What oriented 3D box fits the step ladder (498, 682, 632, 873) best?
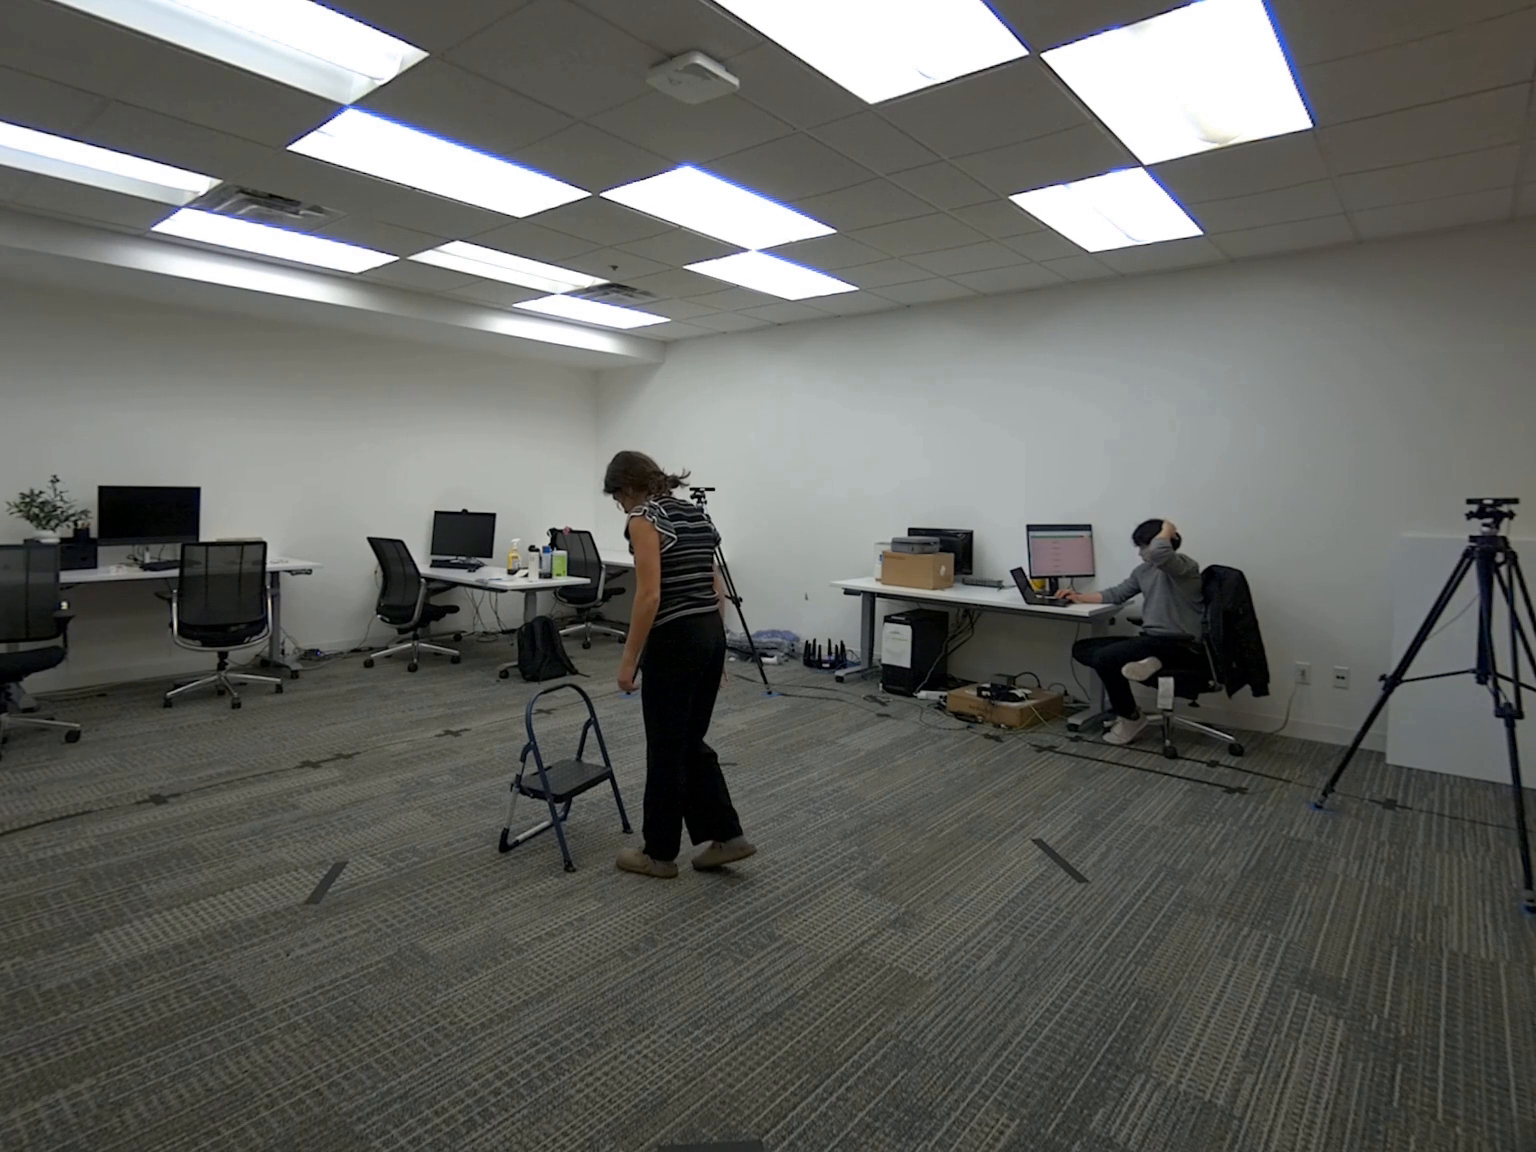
[{"bbox_3d":[-0.789,0.736,3.310,0.358,0.604,0.421,3,4,24],"label":"step ladder"}]
